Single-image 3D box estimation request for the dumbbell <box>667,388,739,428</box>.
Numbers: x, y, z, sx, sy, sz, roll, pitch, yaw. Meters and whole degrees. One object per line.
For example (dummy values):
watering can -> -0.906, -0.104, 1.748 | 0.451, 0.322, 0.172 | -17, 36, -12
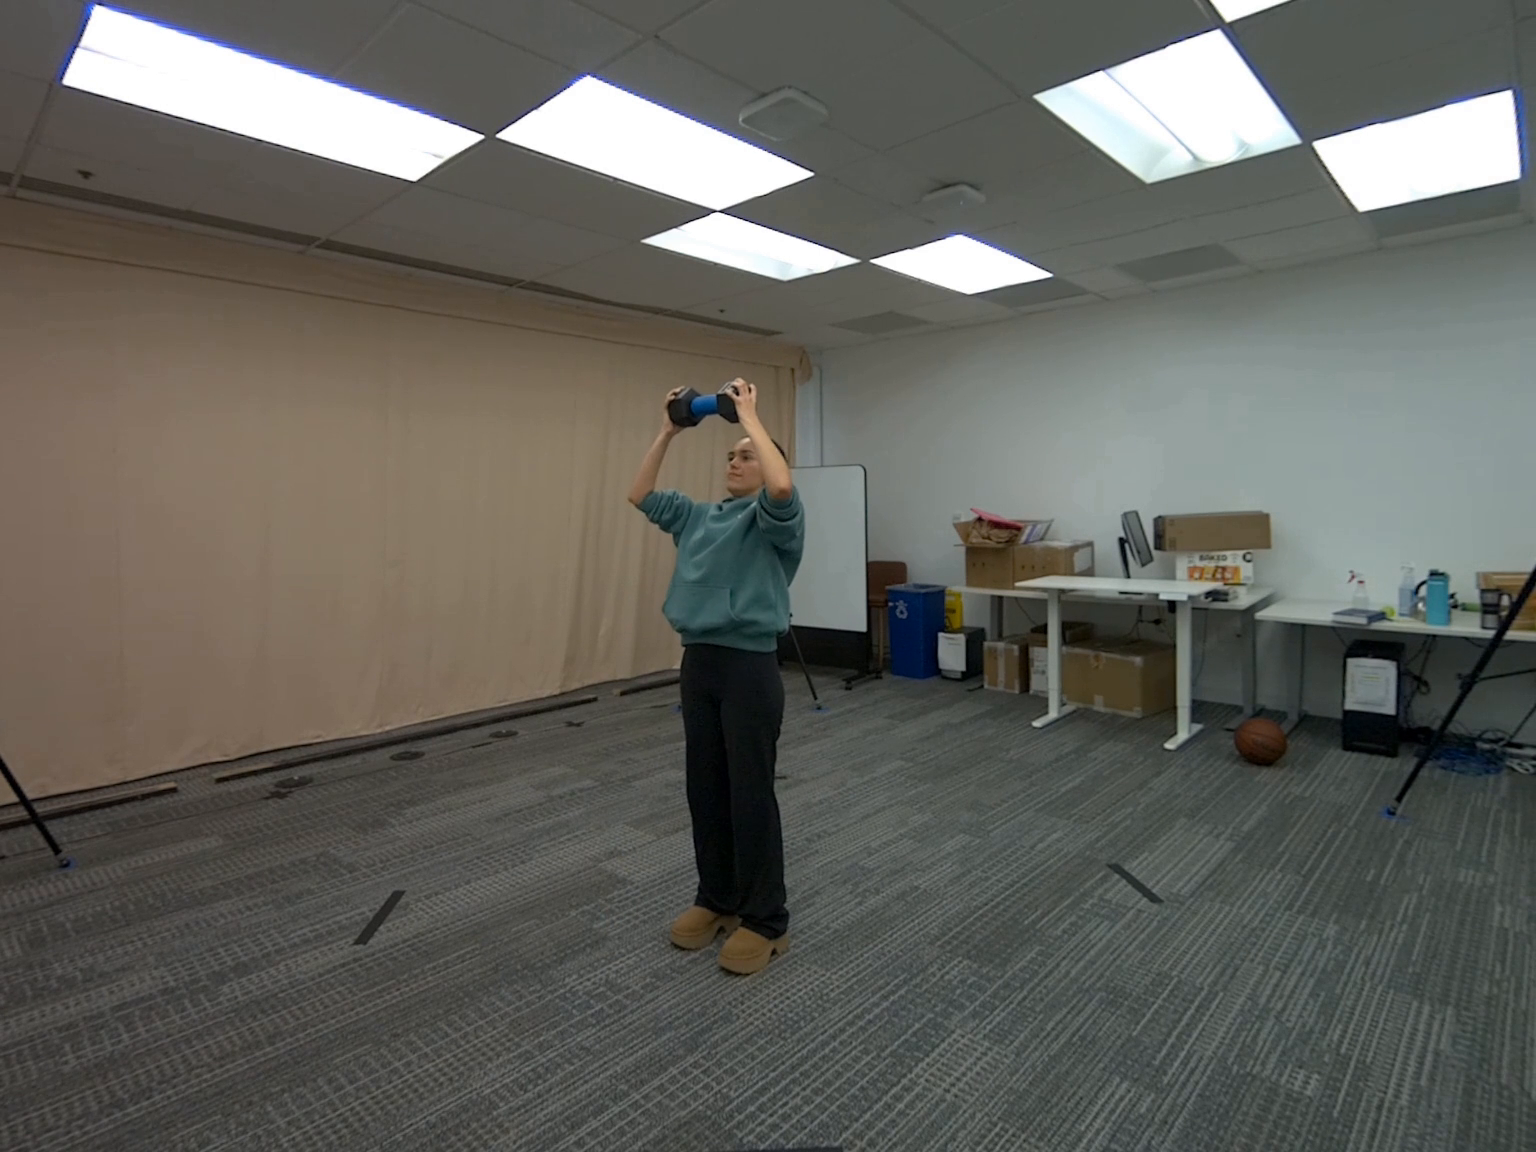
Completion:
dumbbell -> -0.165, -0.527, 2.585 | 0.303, 0.122, 0.106 | 4, 14, 42
